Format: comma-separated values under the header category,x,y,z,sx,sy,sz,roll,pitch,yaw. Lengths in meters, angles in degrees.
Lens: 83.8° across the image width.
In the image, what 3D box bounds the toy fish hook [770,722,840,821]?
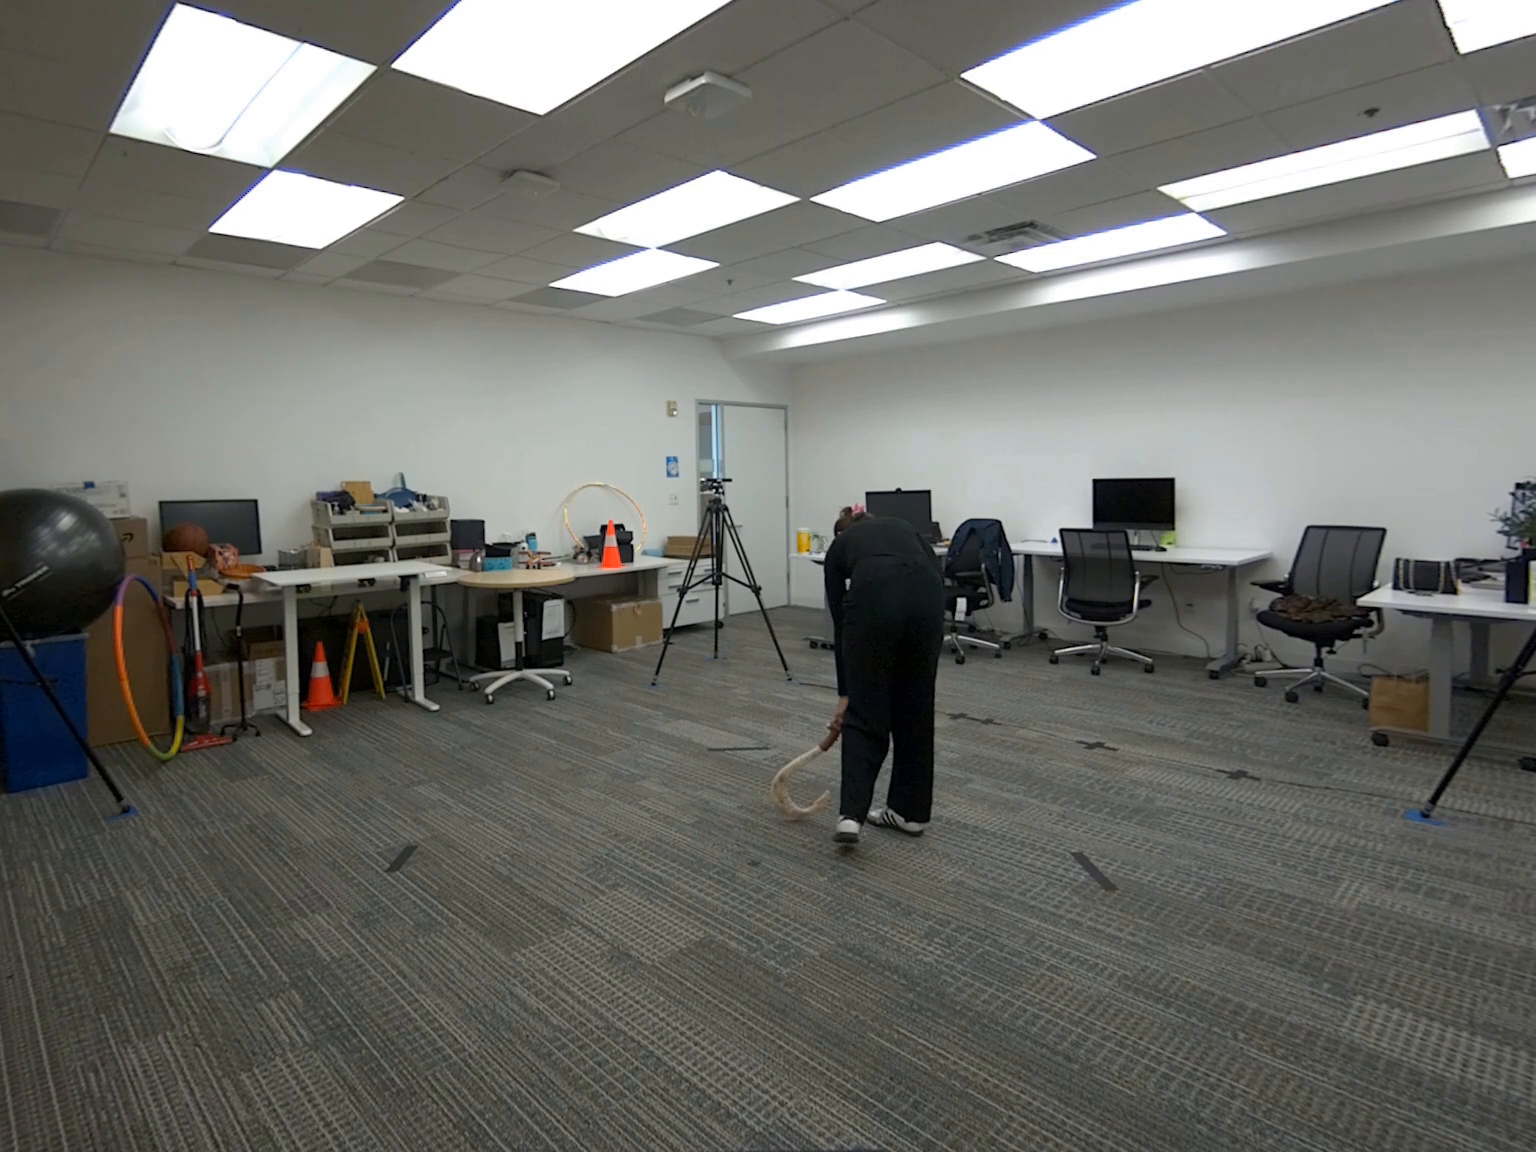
category,x,y,z,sx,sy,sz,roll,pitch,yaw
toy fish hook,0.222,0.779,3.497,0.225,0.506,0.048,39,3,3
